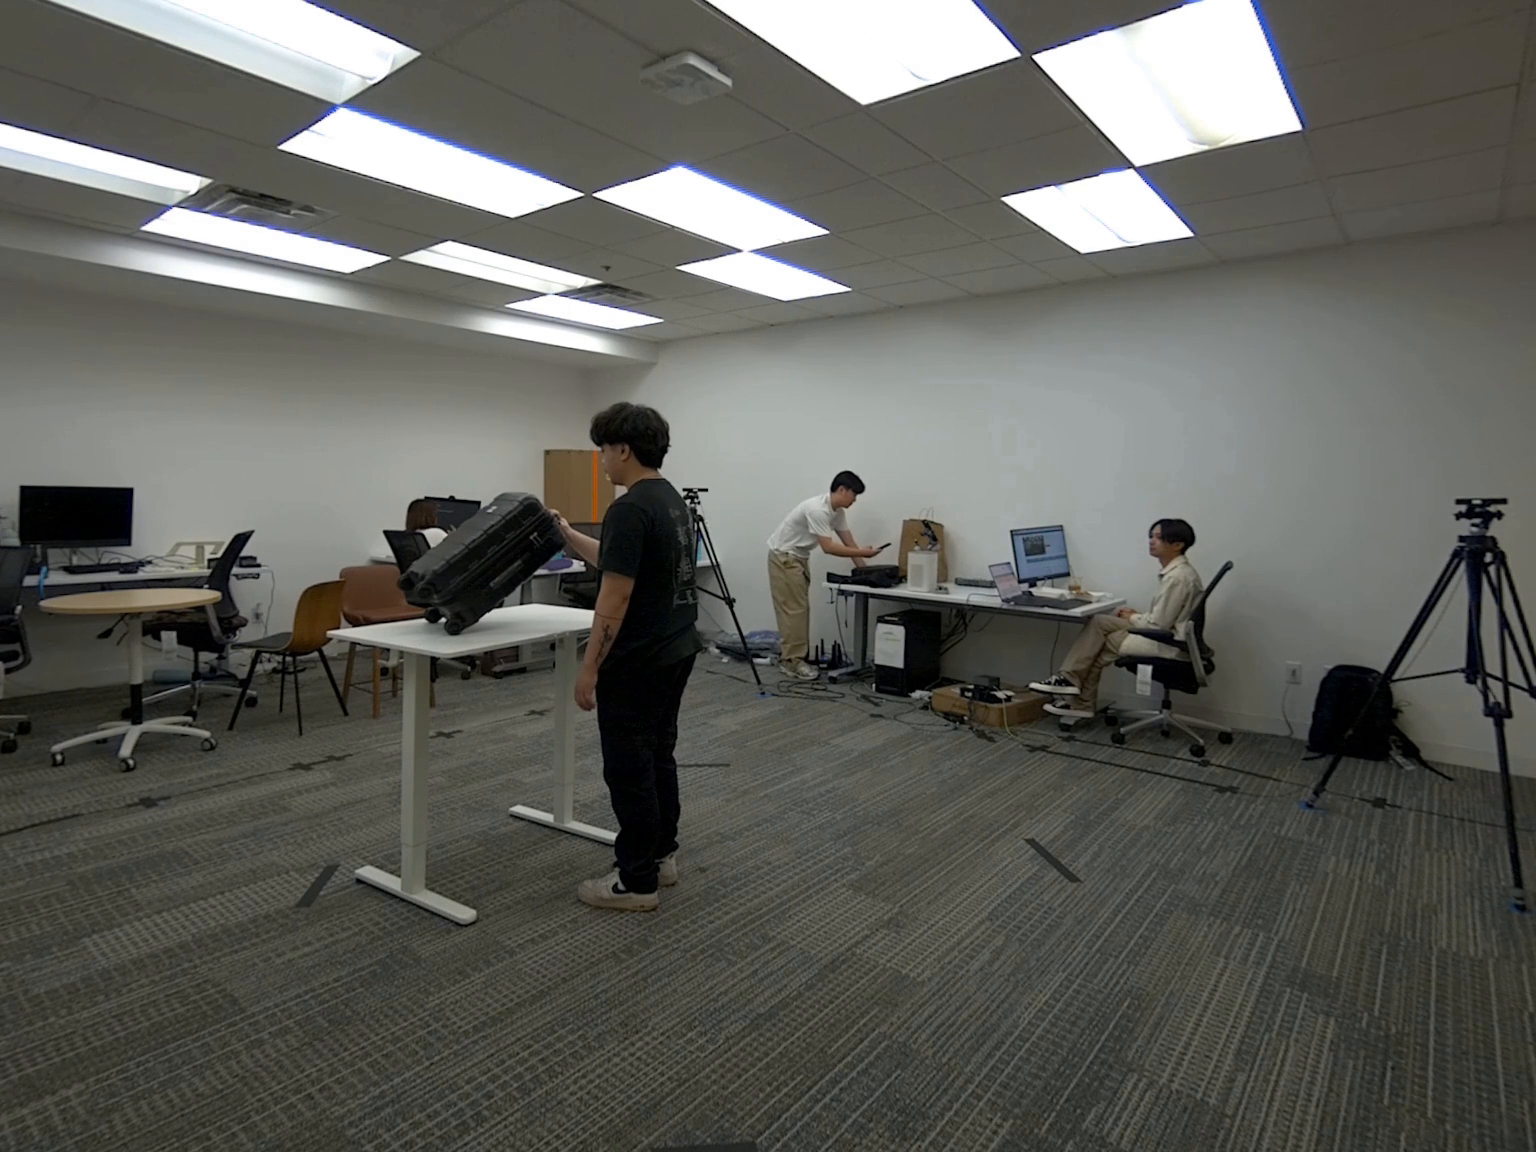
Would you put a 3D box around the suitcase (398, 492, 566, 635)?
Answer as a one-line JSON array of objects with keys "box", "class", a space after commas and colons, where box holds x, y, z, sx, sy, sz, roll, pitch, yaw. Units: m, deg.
[{"box": [-1.035, -0.066, 3.057, 0.548, 0.241, 0.387, -43, 26, -24], "class": "suitcase"}]
